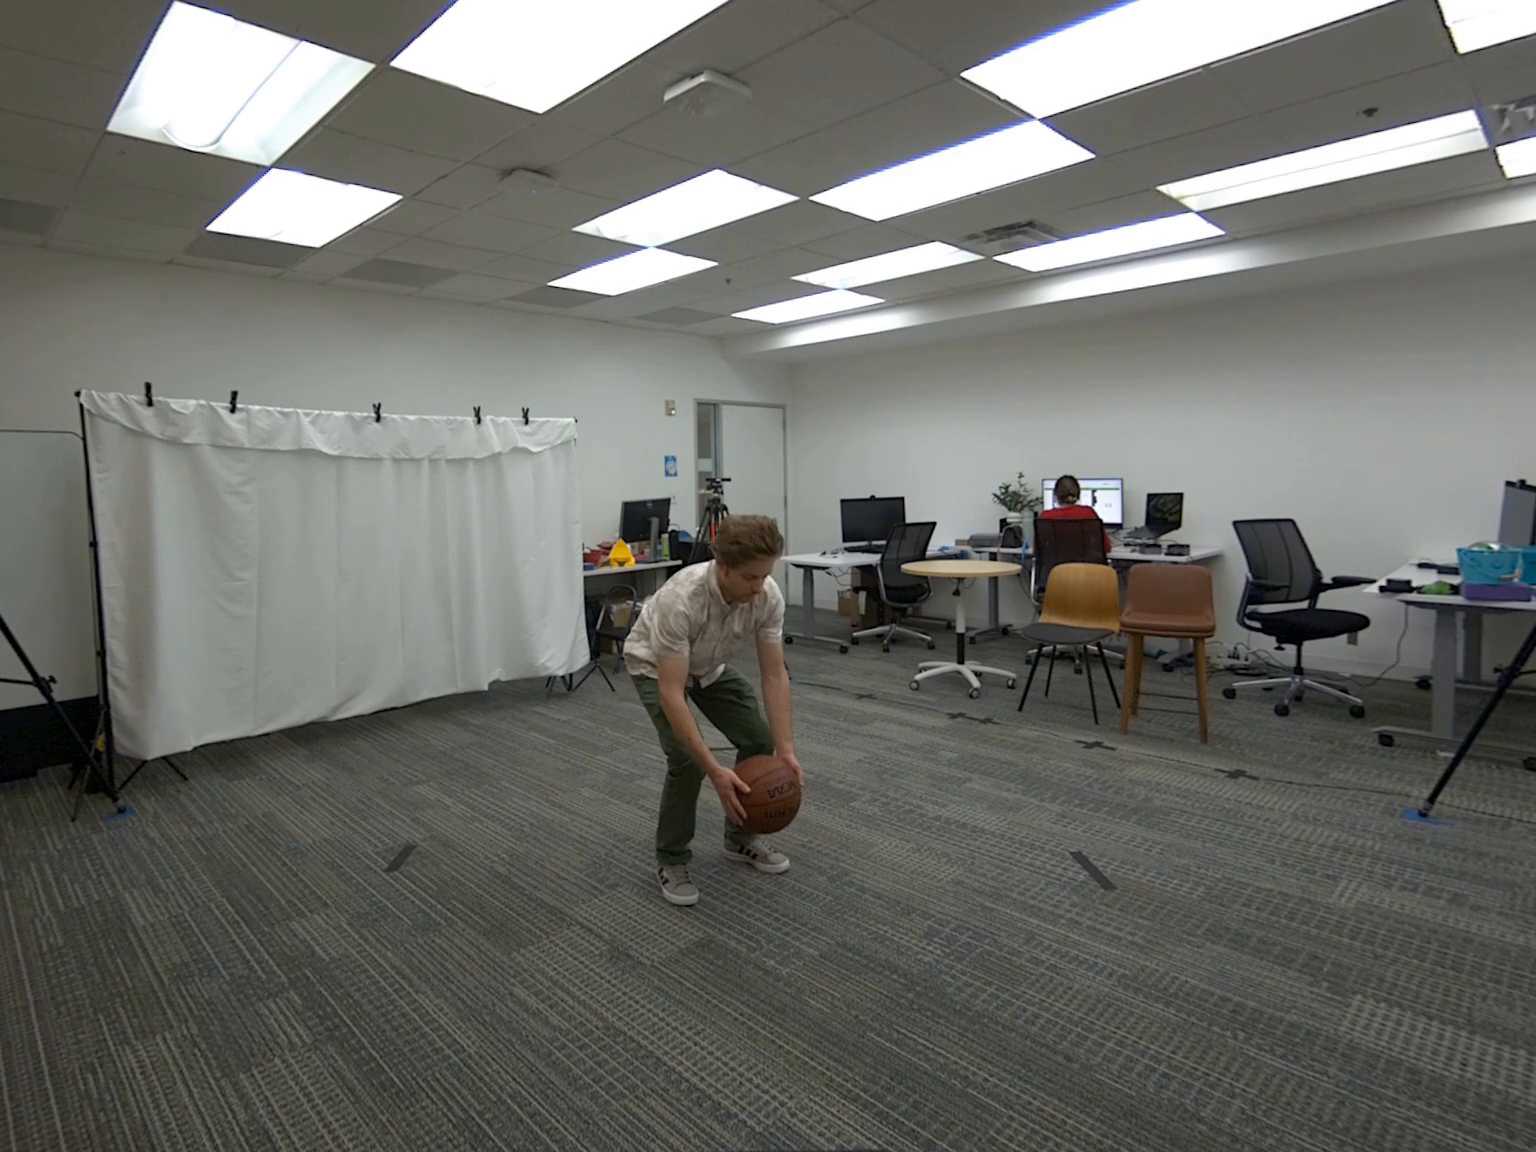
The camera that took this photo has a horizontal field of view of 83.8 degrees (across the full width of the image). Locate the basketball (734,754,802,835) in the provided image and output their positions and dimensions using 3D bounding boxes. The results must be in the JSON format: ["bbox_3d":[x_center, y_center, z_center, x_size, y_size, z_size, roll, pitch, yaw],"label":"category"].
[{"bbox_3d":[-0.020,0.686,2.681,0.236,0.235,0.237,-1,5,-2],"label":"basketball"}]
